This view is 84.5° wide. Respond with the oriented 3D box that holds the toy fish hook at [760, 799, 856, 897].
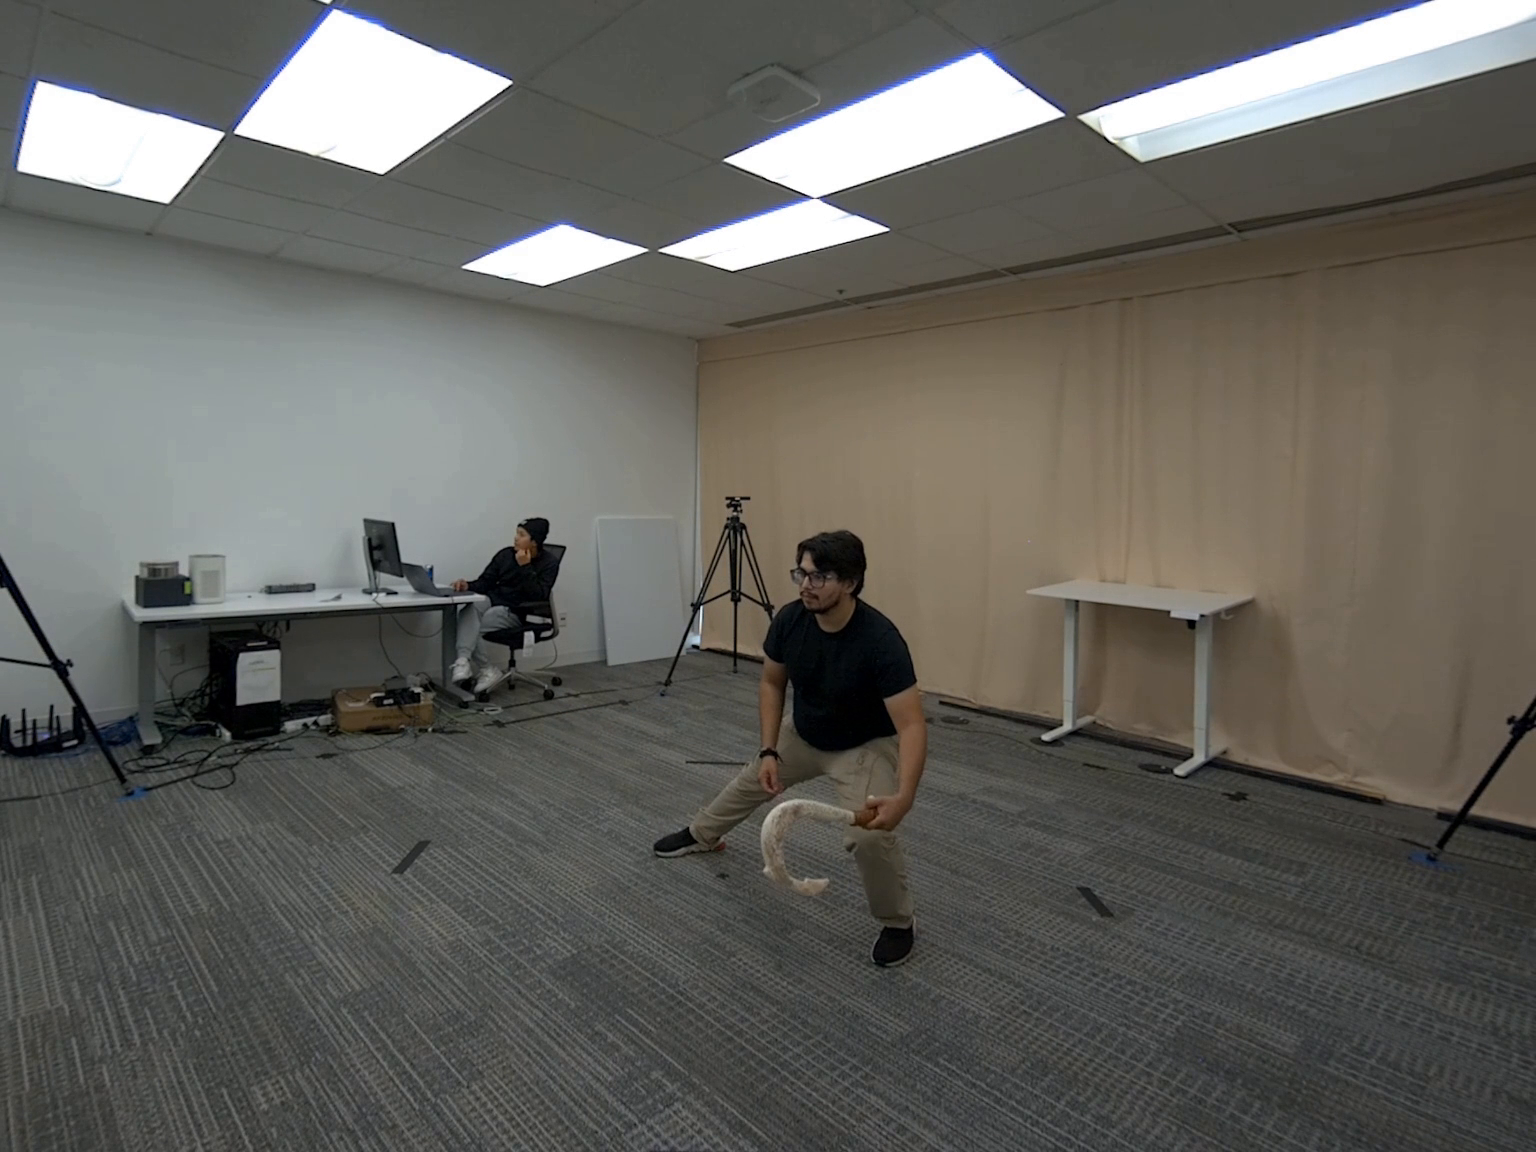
[{"bbox_3d":[0.169,0.684,2.172,0.494,0.226,0.049,5,-11,-36],"label":"toy fish hook"}]
